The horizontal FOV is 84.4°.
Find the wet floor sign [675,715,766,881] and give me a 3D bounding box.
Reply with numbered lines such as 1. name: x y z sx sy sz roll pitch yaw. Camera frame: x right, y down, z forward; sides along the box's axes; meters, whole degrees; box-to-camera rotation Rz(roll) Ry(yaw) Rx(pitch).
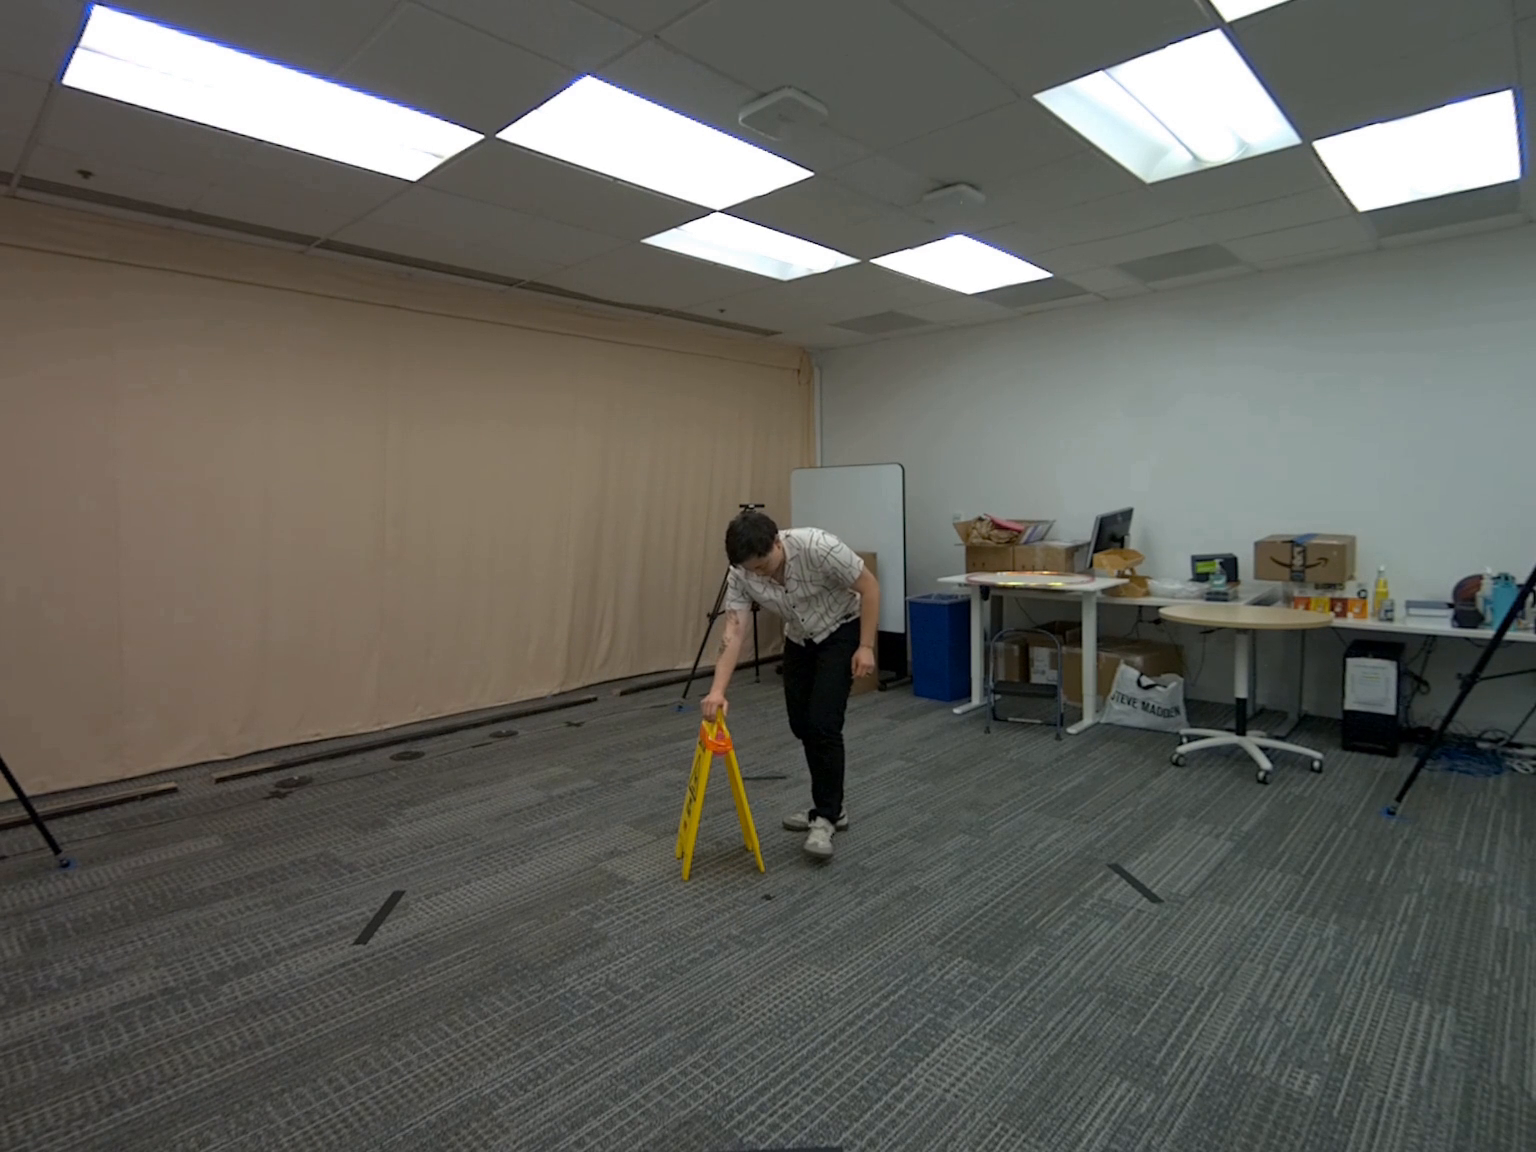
1. wet floor sign: -0.200 0.793 3.267 0.286 0.645 0.286 -2 2 -12
